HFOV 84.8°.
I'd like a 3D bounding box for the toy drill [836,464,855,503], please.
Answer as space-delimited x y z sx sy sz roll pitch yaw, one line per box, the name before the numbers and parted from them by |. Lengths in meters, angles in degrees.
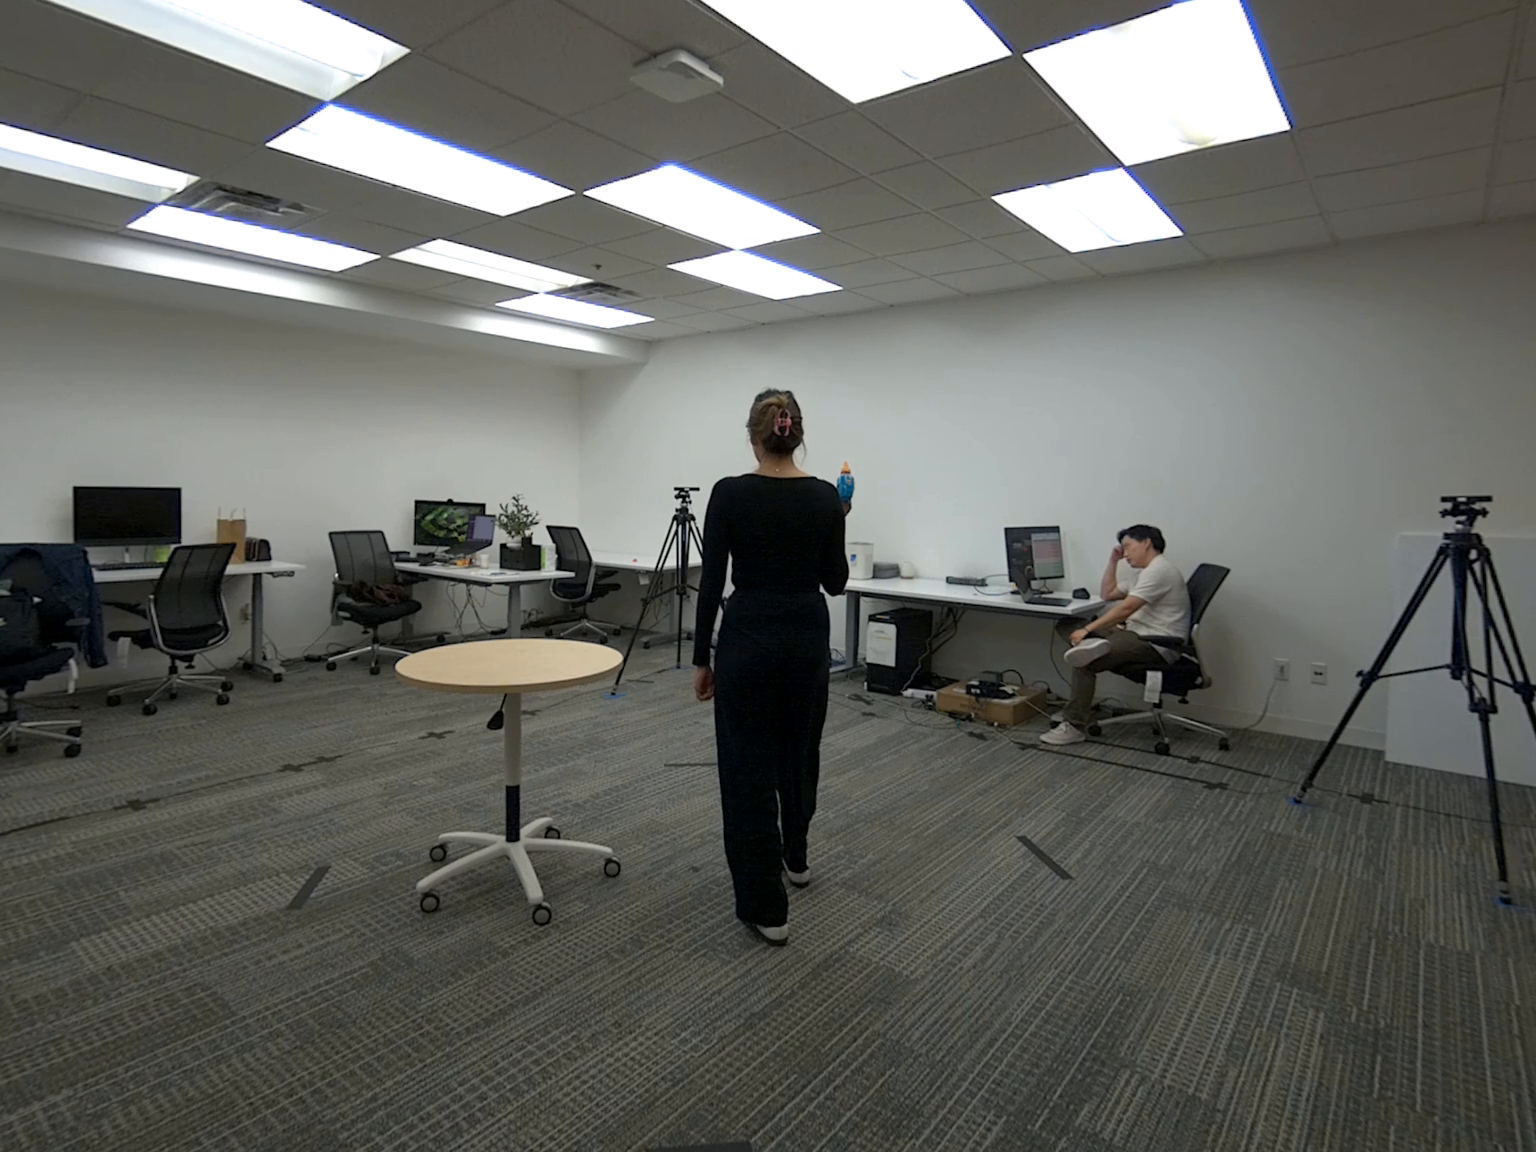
toy drill | 0.256 -0.312 2.952 0.060 0.174 0.144 7 -31 -11
